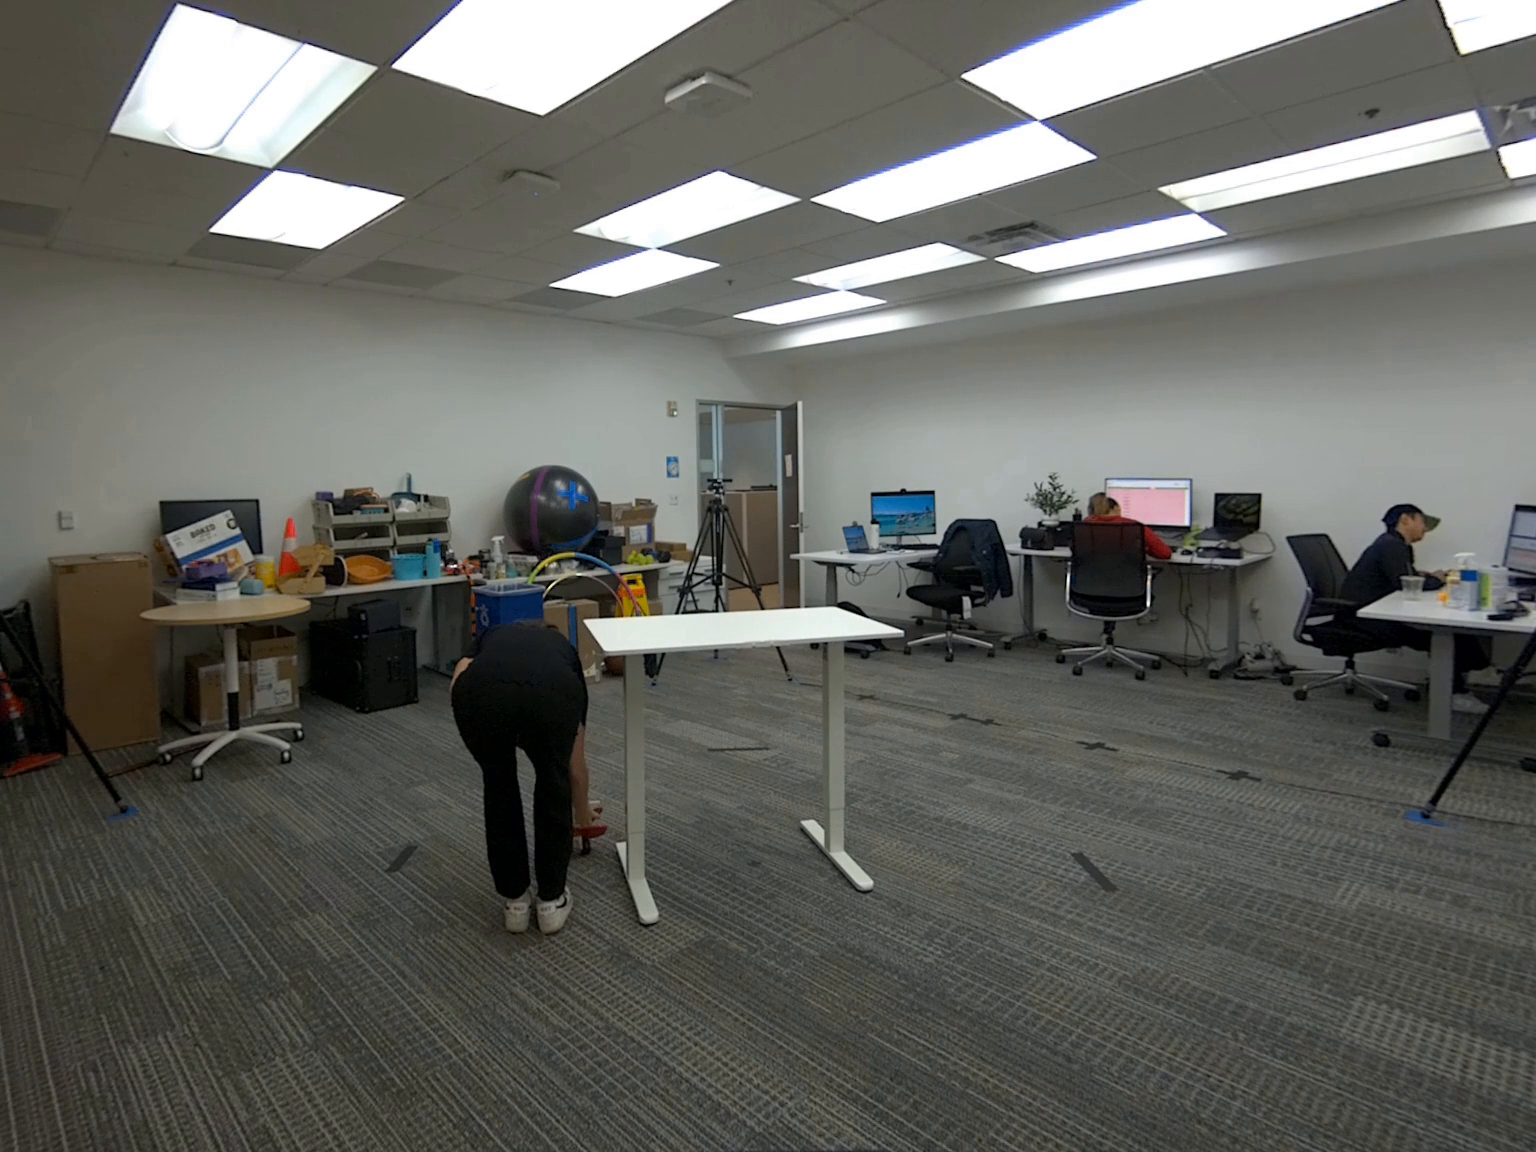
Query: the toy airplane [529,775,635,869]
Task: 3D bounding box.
[{"bbox_3d":[-0.697,0.920,3.205,0.241,0.259,0.162,34,13,-43],"label":"toy airplane"}]
